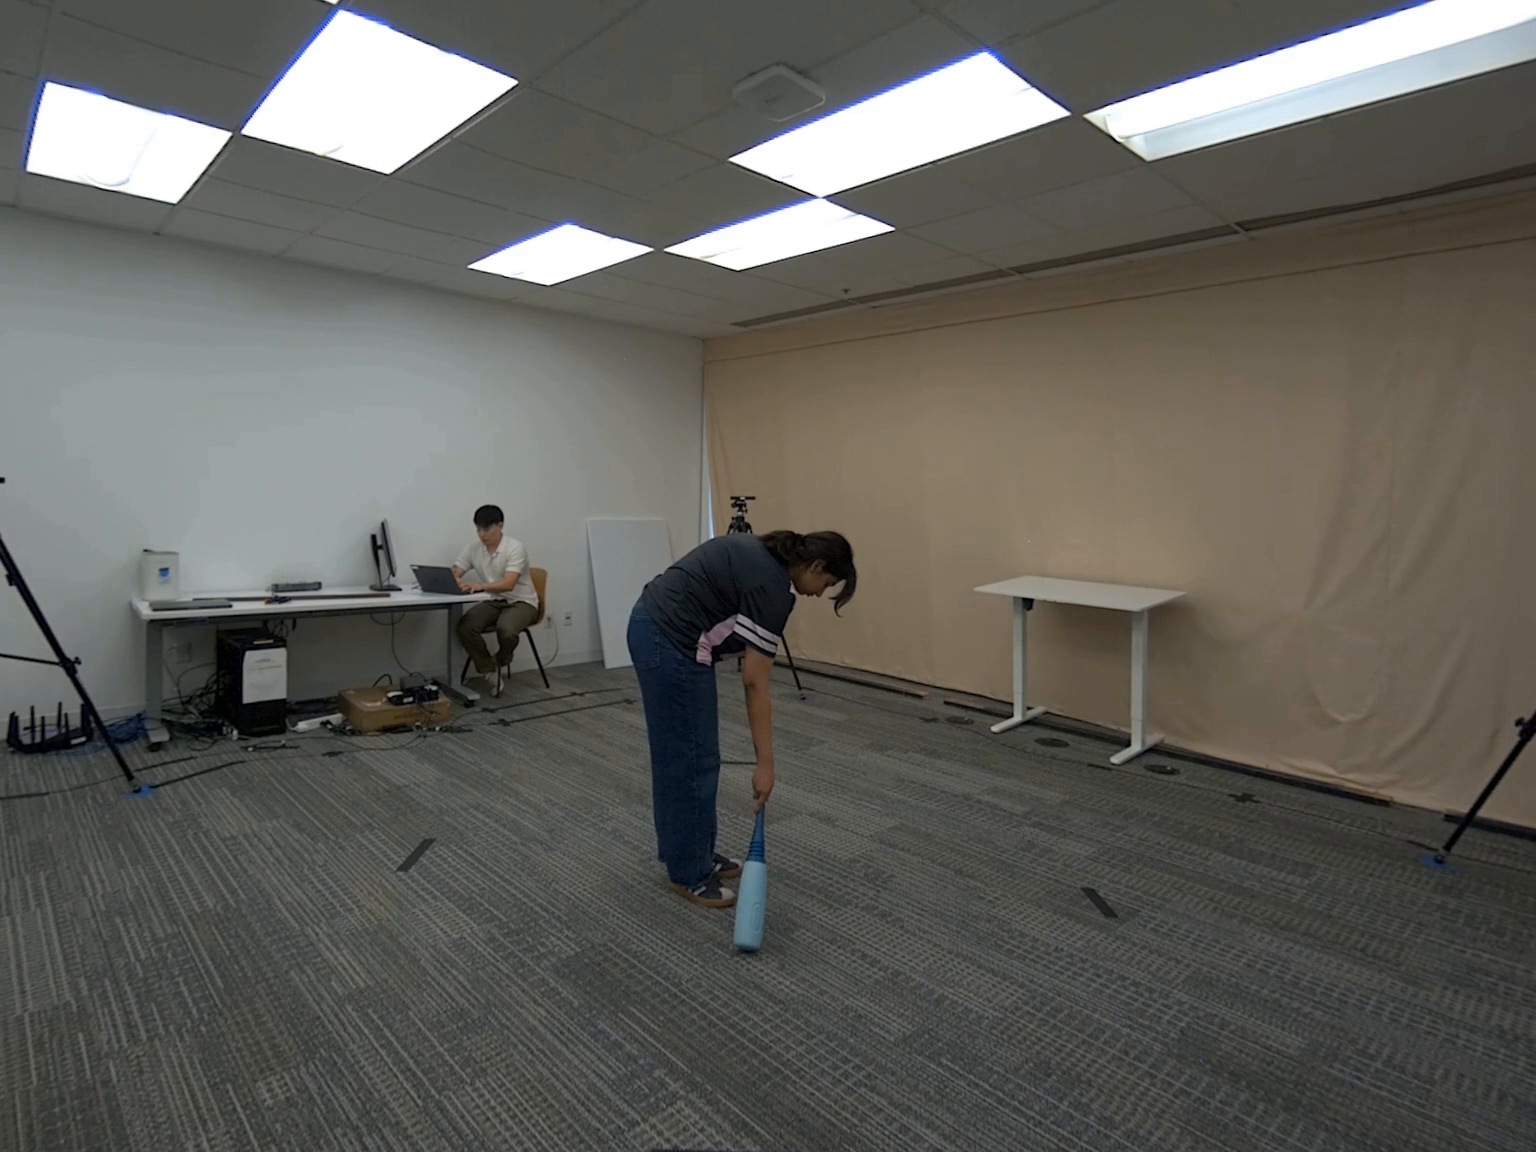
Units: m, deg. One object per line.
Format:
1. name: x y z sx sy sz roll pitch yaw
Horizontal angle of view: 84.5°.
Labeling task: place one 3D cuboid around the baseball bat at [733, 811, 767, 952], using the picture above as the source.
1. baseball bat: -0.038 0.909 2.704 0.089 0.552 0.087 6 -31 2
